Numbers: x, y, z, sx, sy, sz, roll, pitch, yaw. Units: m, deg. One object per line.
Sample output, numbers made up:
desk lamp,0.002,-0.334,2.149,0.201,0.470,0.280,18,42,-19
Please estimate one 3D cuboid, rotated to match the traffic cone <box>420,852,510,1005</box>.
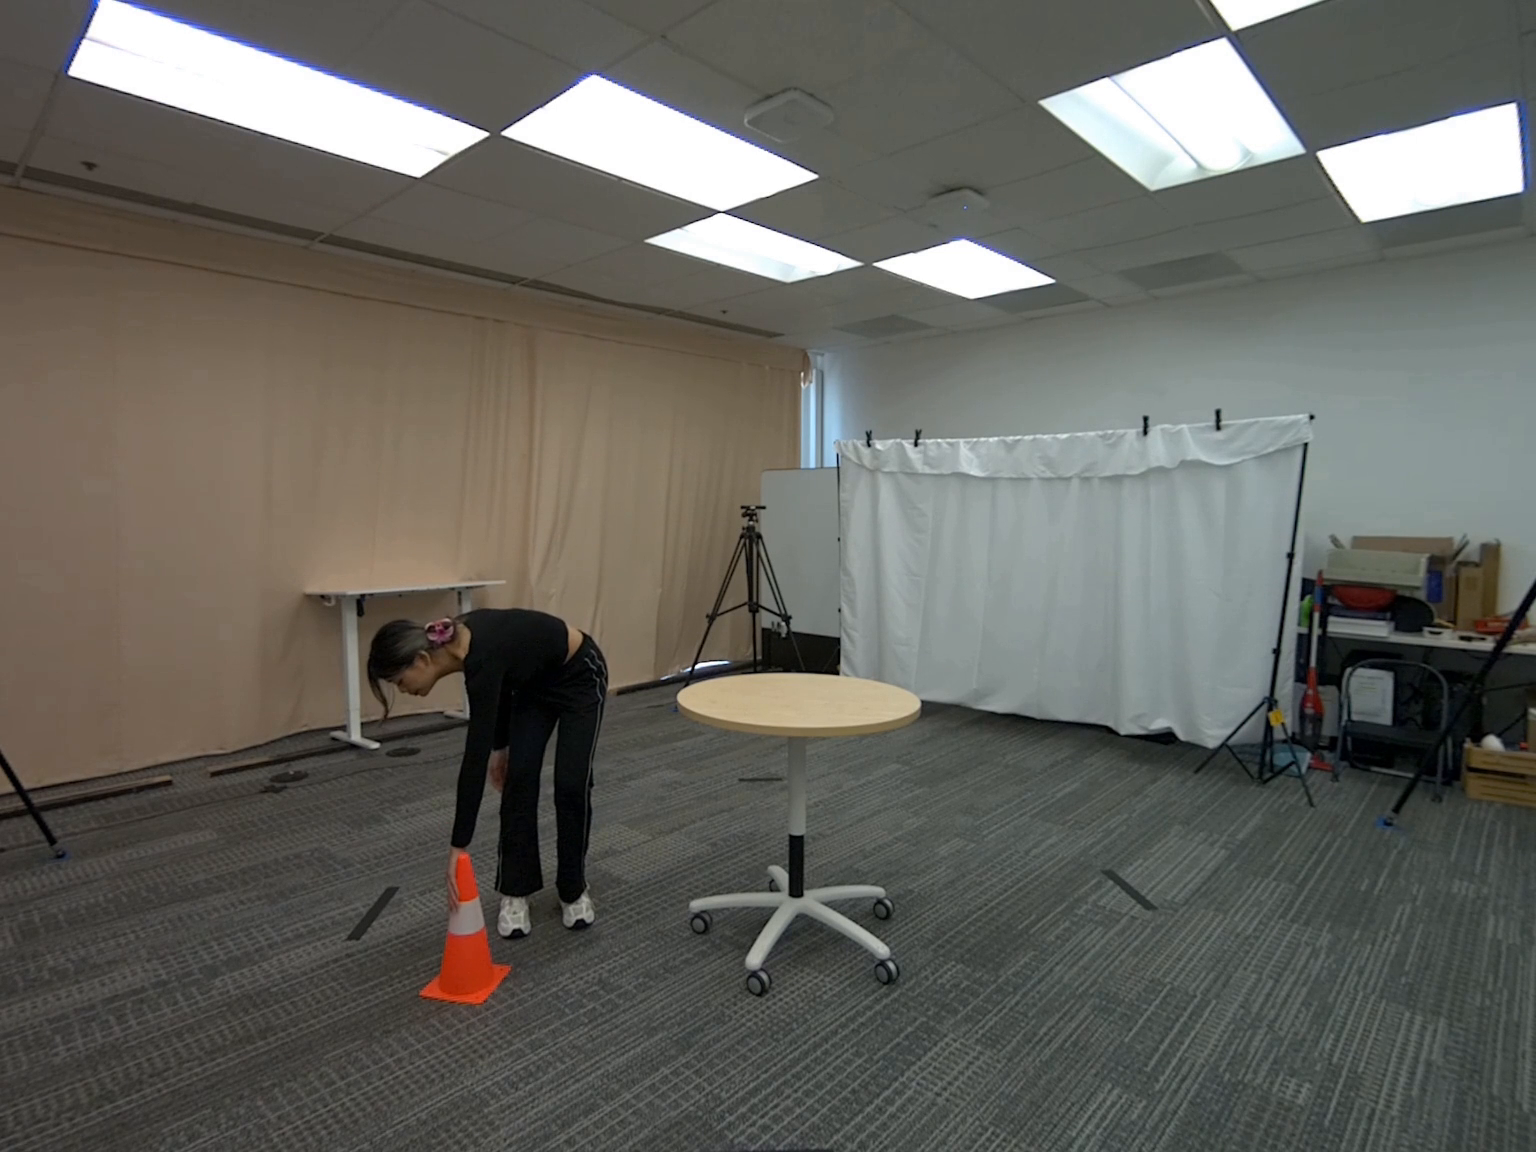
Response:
traffic cone,-0.872,0.995,2.473,0.208,0.383,0.200,3,2,13
